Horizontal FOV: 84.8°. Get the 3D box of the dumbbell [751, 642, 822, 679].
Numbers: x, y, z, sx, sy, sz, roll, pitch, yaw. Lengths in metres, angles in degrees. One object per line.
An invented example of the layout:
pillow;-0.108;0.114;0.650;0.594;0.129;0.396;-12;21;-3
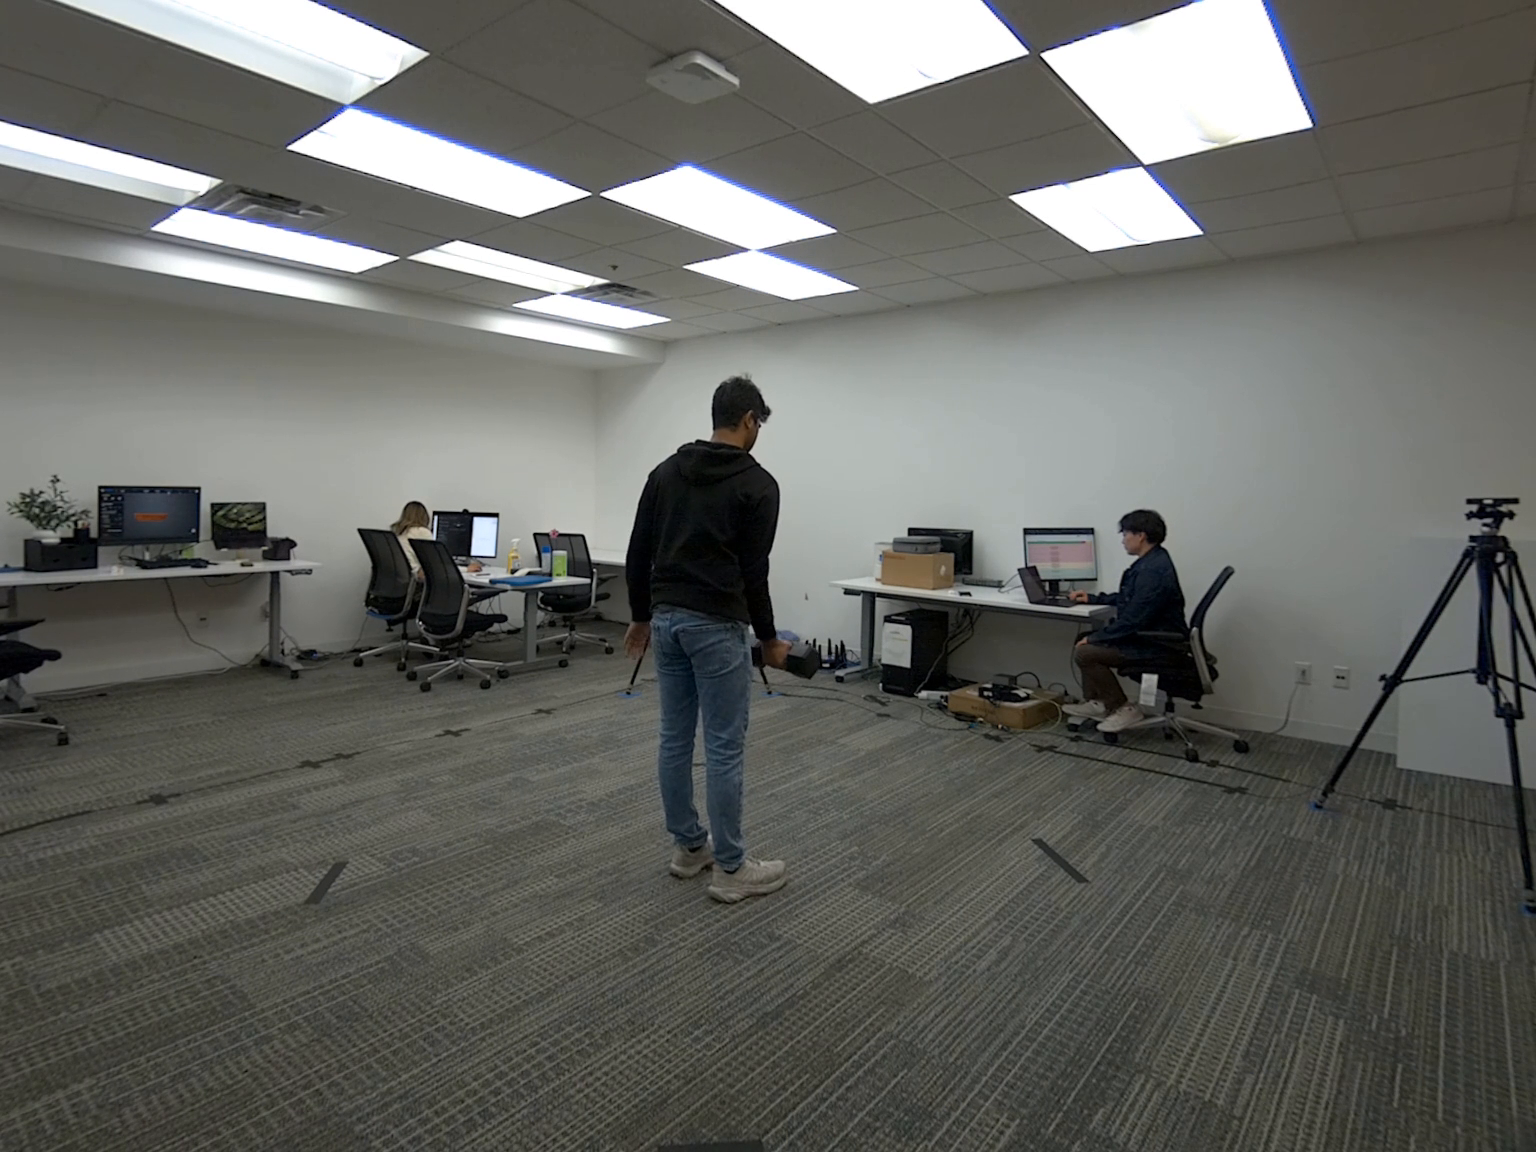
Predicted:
dumbbell;0.041;0.267;3.062;0.304;0.122;0.106;9;13;40
